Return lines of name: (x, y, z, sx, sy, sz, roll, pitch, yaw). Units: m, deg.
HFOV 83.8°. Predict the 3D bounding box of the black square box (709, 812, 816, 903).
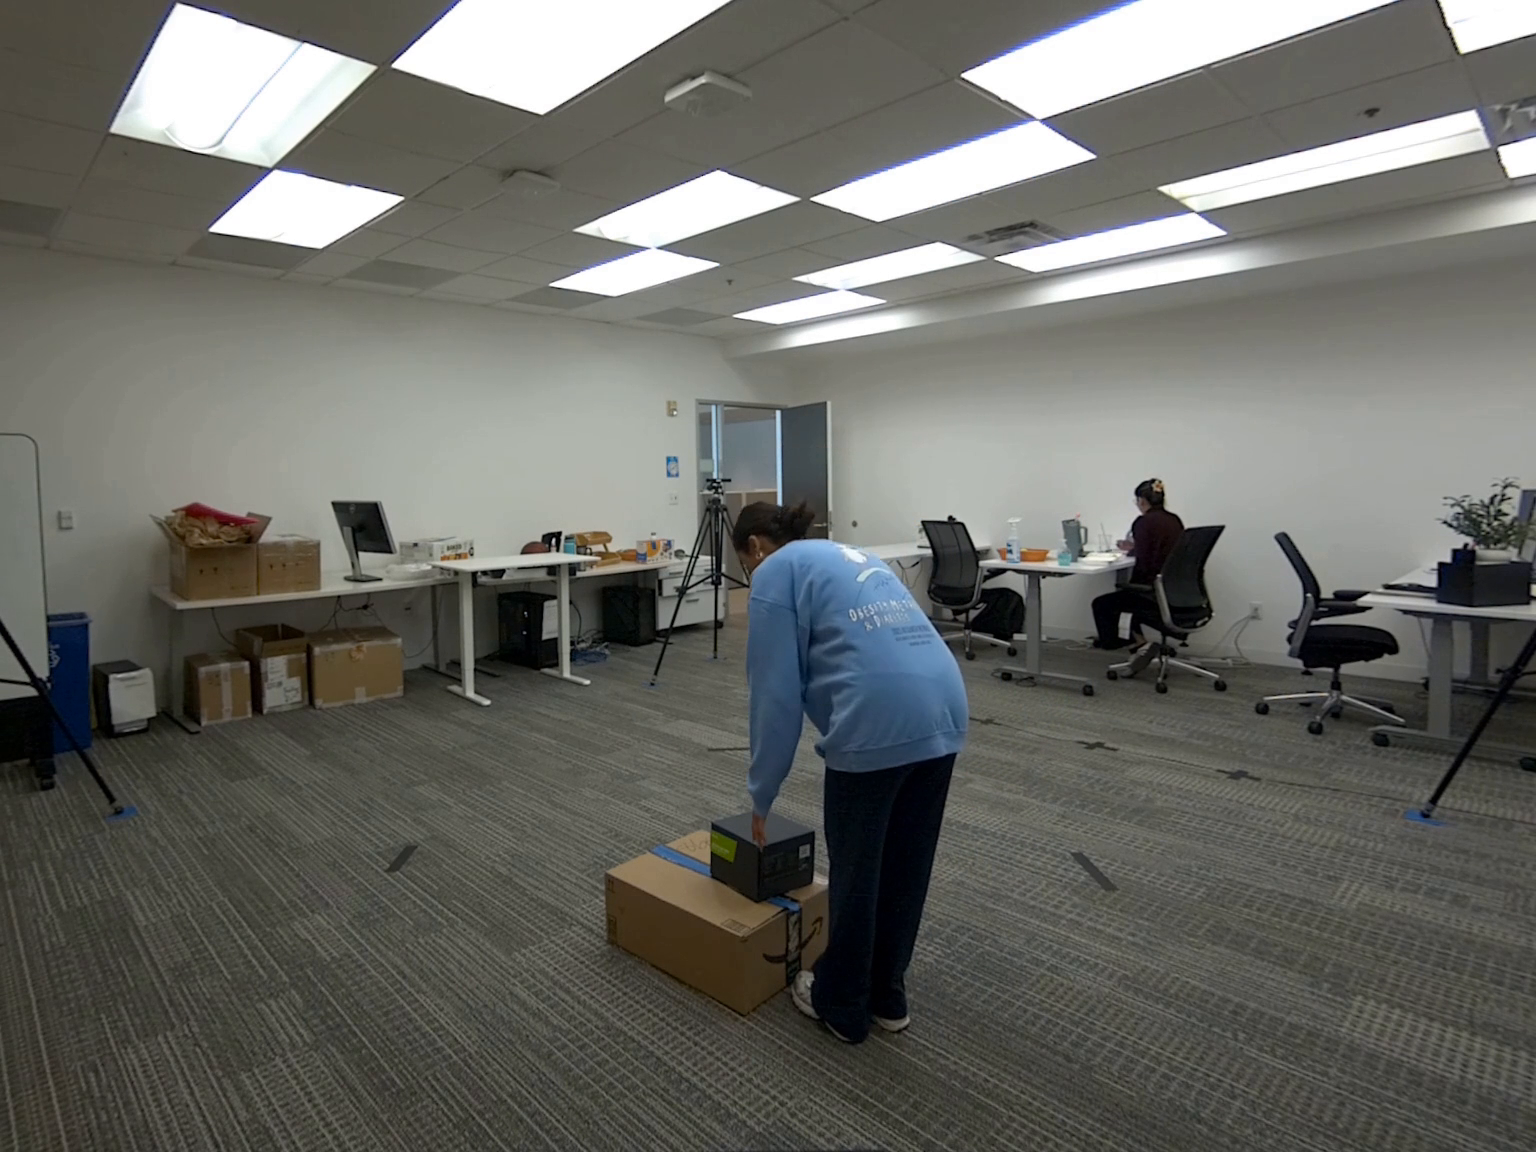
black square box: (-0.013, 0.810, 2.516, 0.211, 0.155, 0.235, -1, 4, -40)
